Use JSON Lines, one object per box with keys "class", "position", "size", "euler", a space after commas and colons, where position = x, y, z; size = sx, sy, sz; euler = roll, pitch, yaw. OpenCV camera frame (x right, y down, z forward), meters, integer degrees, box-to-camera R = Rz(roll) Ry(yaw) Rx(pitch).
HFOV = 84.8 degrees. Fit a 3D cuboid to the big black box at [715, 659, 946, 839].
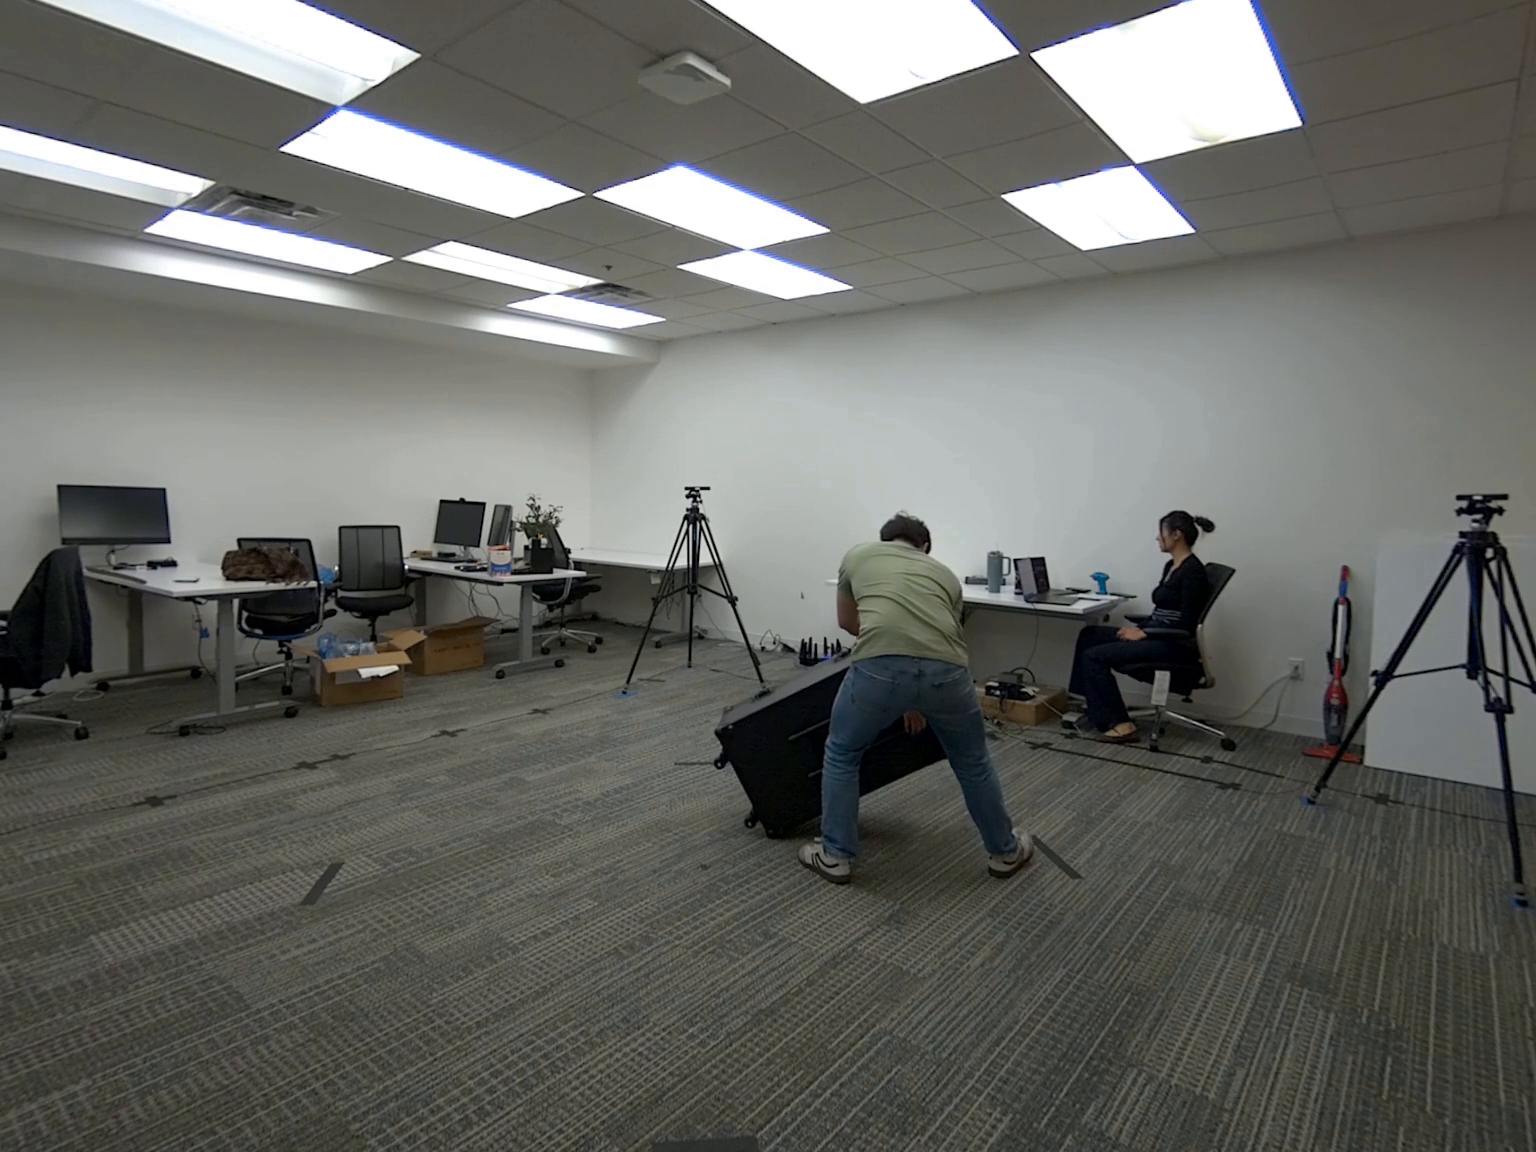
{"class": "big black box", "position": [0.259, 0.630, 3.490], "size": [0.864, 0.522, 0.395], "euler": [-27, 1, 6]}
